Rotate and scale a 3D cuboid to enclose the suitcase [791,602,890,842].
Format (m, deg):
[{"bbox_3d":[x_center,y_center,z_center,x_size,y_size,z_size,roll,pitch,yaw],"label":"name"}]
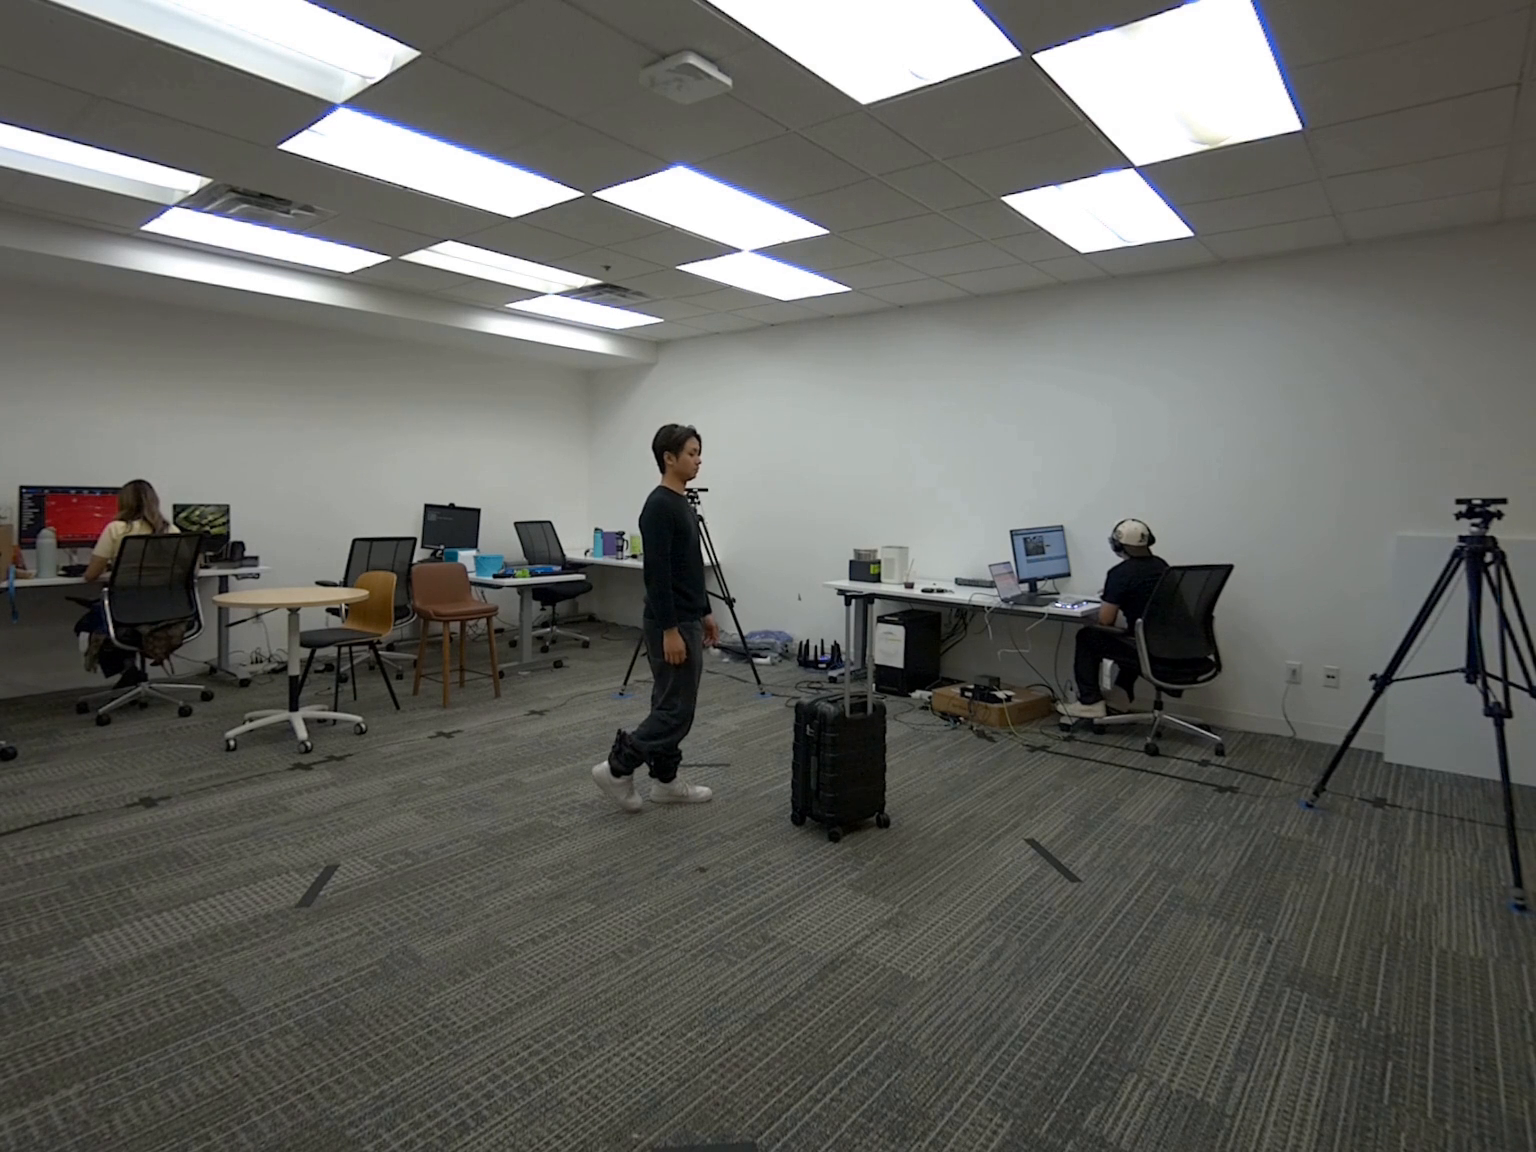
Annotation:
[{"bbox_3d":[0.289,0.559,3.554,0.373,0.978,0.265,-1,0,-35],"label":"suitcase"}]
